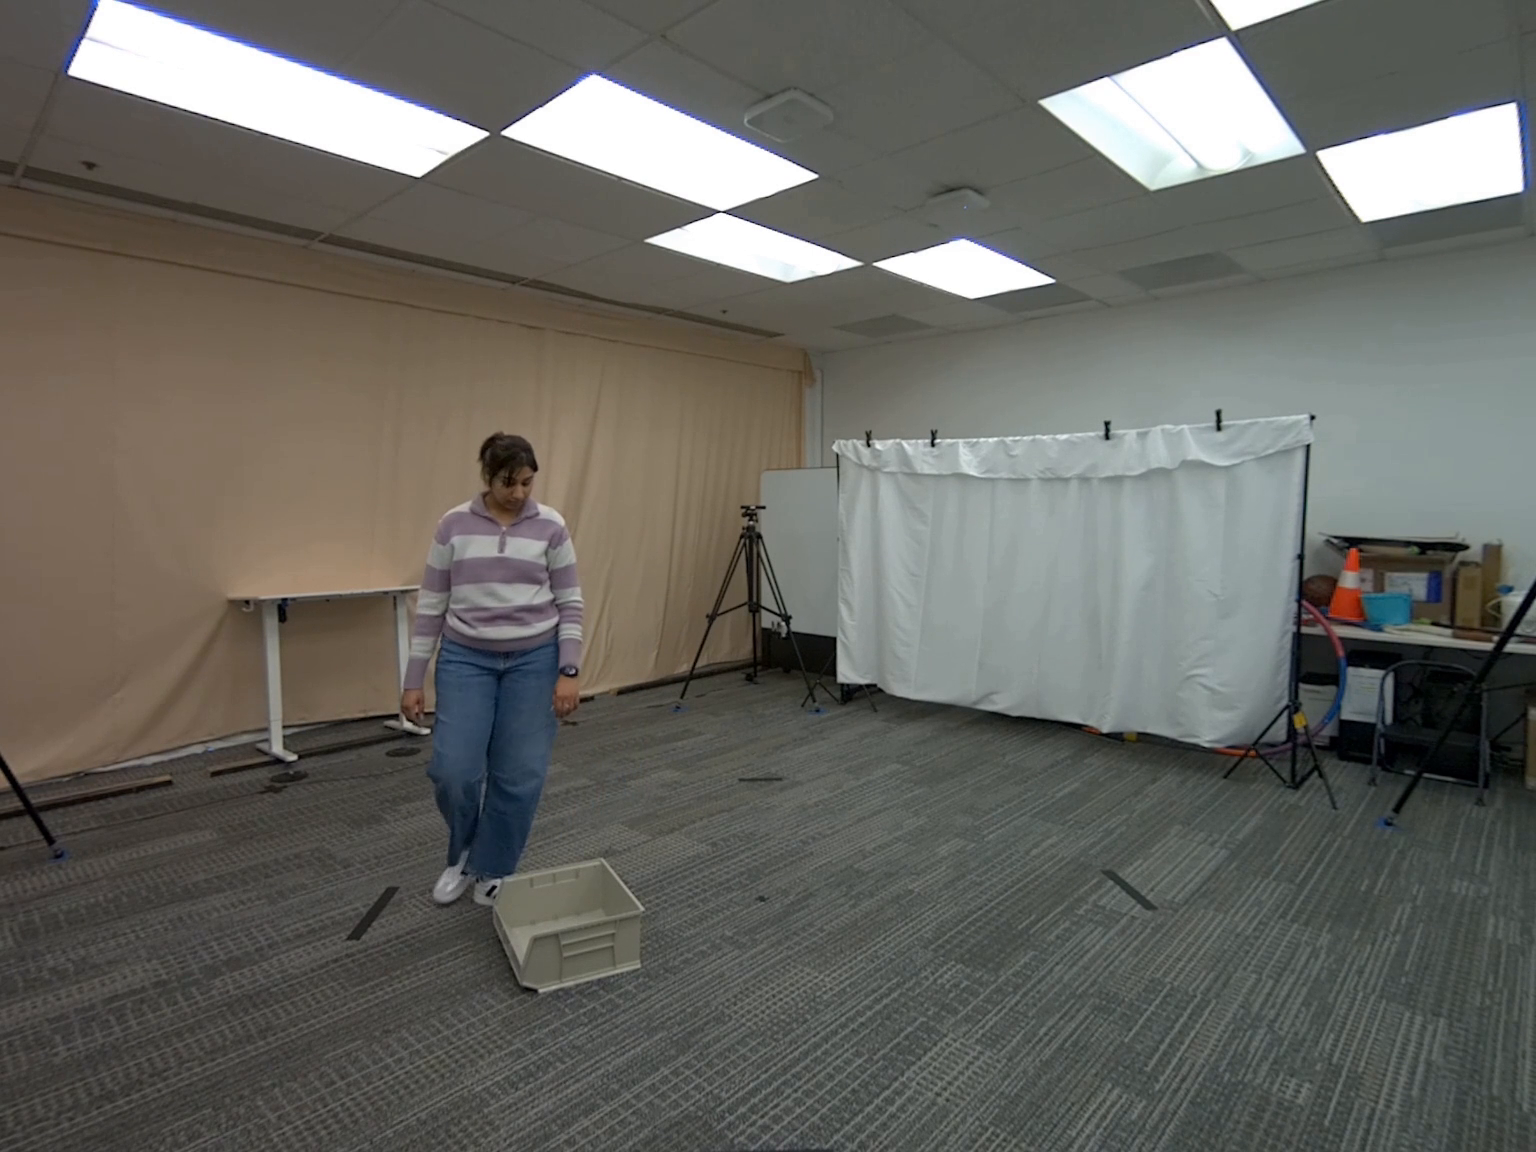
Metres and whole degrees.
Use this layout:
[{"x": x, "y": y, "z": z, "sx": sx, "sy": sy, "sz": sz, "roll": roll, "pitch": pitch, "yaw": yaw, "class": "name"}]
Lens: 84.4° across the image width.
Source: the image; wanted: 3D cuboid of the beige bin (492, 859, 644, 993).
[{"x": -0.636, "y": 1.090, "z": 2.642, "sx": 0.368, "sy": 0.189, "sz": 0.434, "roll": -1, "pitch": 4, "yaw": -27, "class": "beige bin"}]
